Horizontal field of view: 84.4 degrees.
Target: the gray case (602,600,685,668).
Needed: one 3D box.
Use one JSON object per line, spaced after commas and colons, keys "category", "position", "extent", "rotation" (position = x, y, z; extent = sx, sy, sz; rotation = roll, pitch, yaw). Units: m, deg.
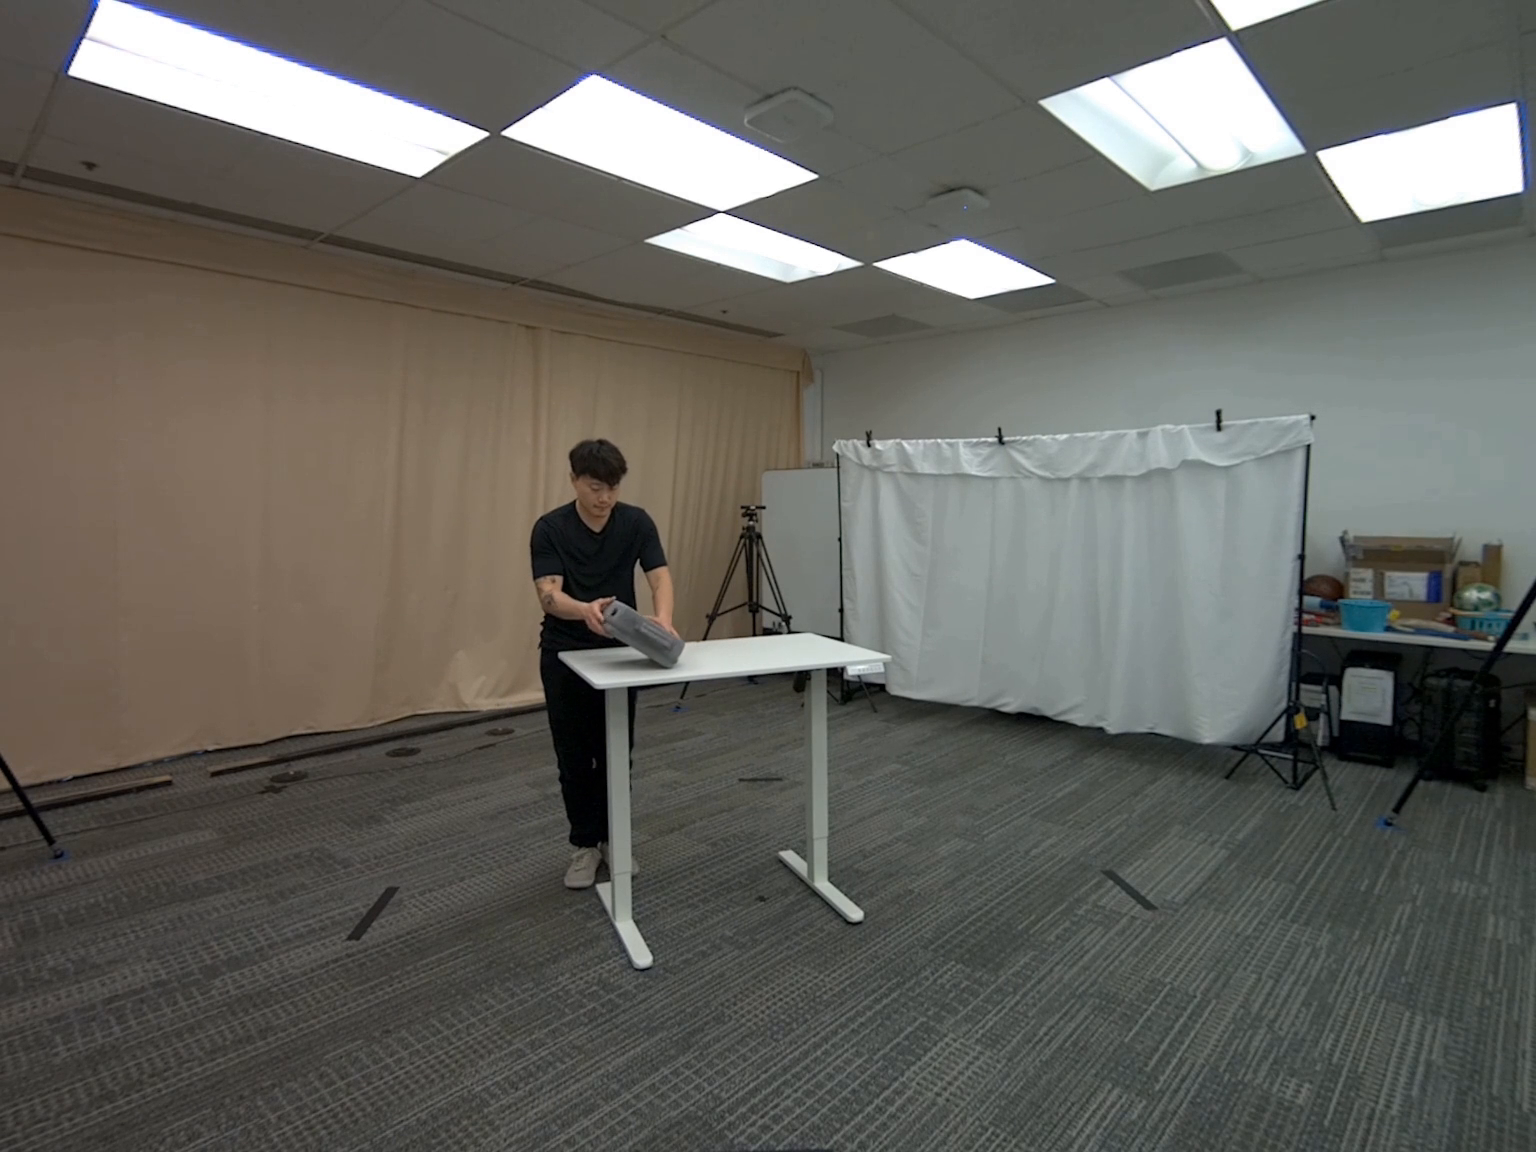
{"category": "gray case", "position": [-0.410, 0.186, 2.709], "extent": [0.251, 0.104, 0.267], "rotation": [38, -11, -20]}
